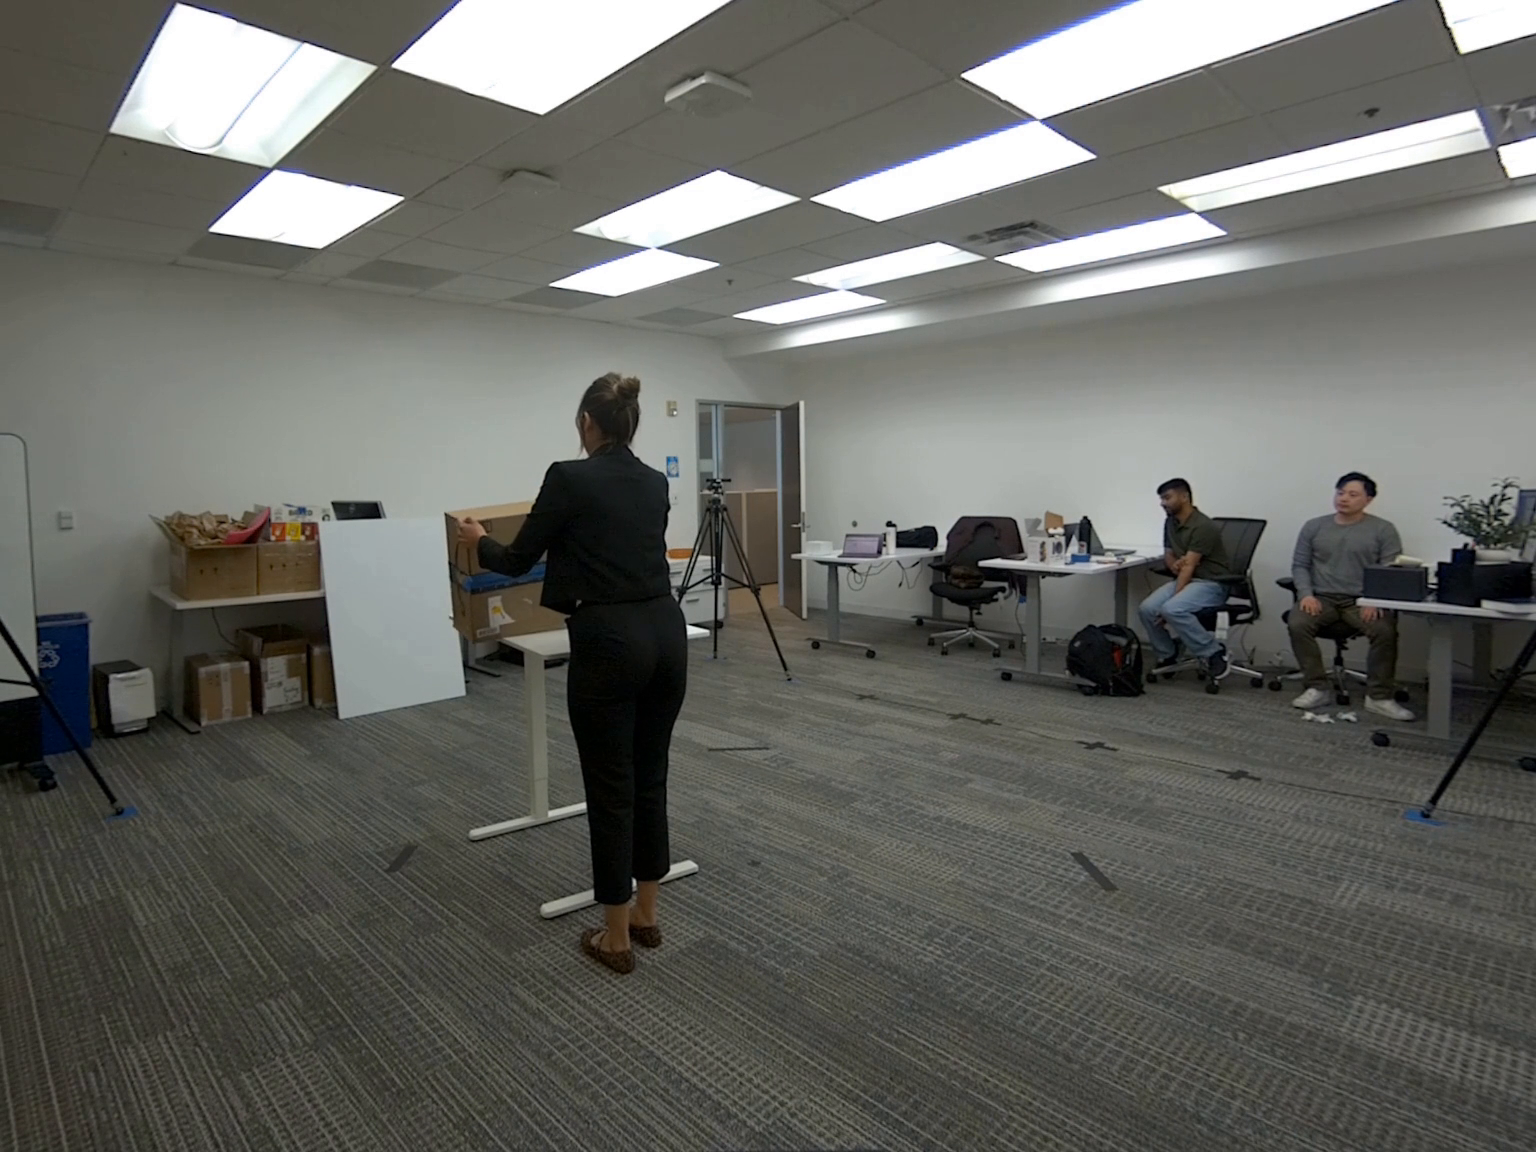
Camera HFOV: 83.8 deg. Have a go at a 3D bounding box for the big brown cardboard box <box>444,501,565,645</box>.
[{"bbox_3d":[-0.802,-0.046,3.004,0.576,0.412,0.241,-12,17,-34],"label":"big brown cardboard box"}]
